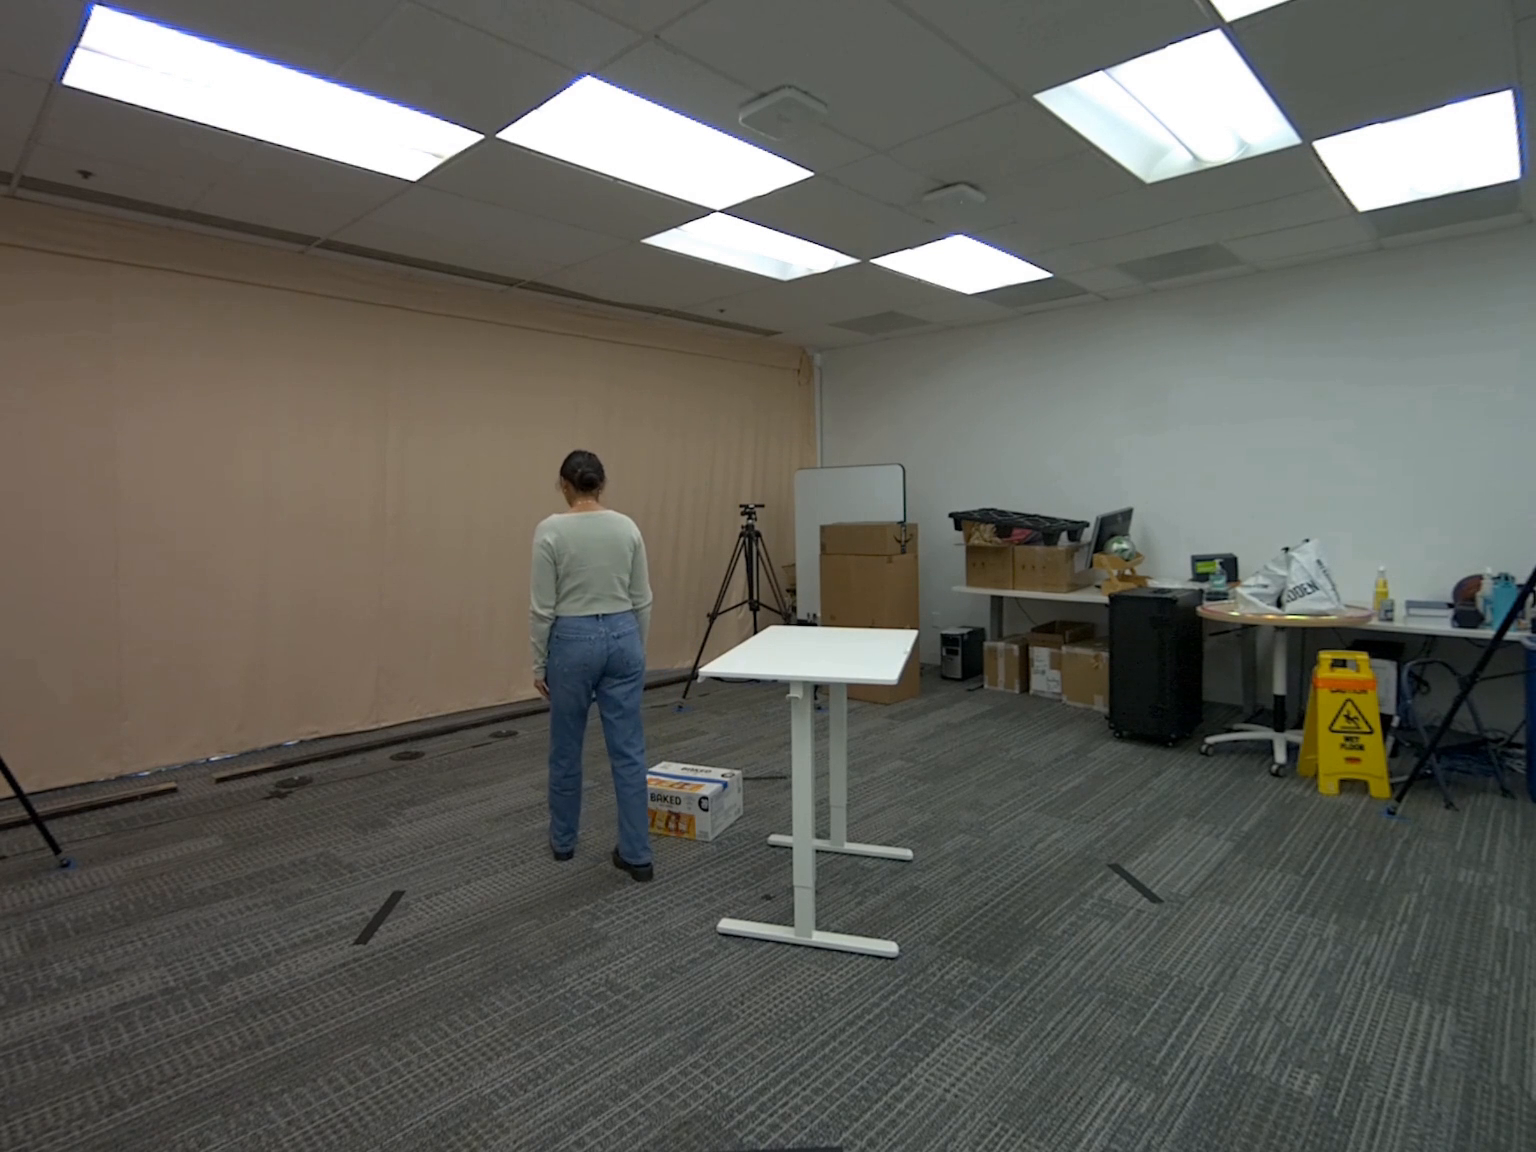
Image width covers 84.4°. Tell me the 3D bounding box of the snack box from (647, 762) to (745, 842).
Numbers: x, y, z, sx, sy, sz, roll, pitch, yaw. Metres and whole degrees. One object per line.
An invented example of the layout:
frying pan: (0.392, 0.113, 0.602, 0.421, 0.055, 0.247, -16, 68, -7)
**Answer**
snack box: (-0.366, 0.984, 3.706, 0.415, 0.205, 0.333, 1, 5, 24)
